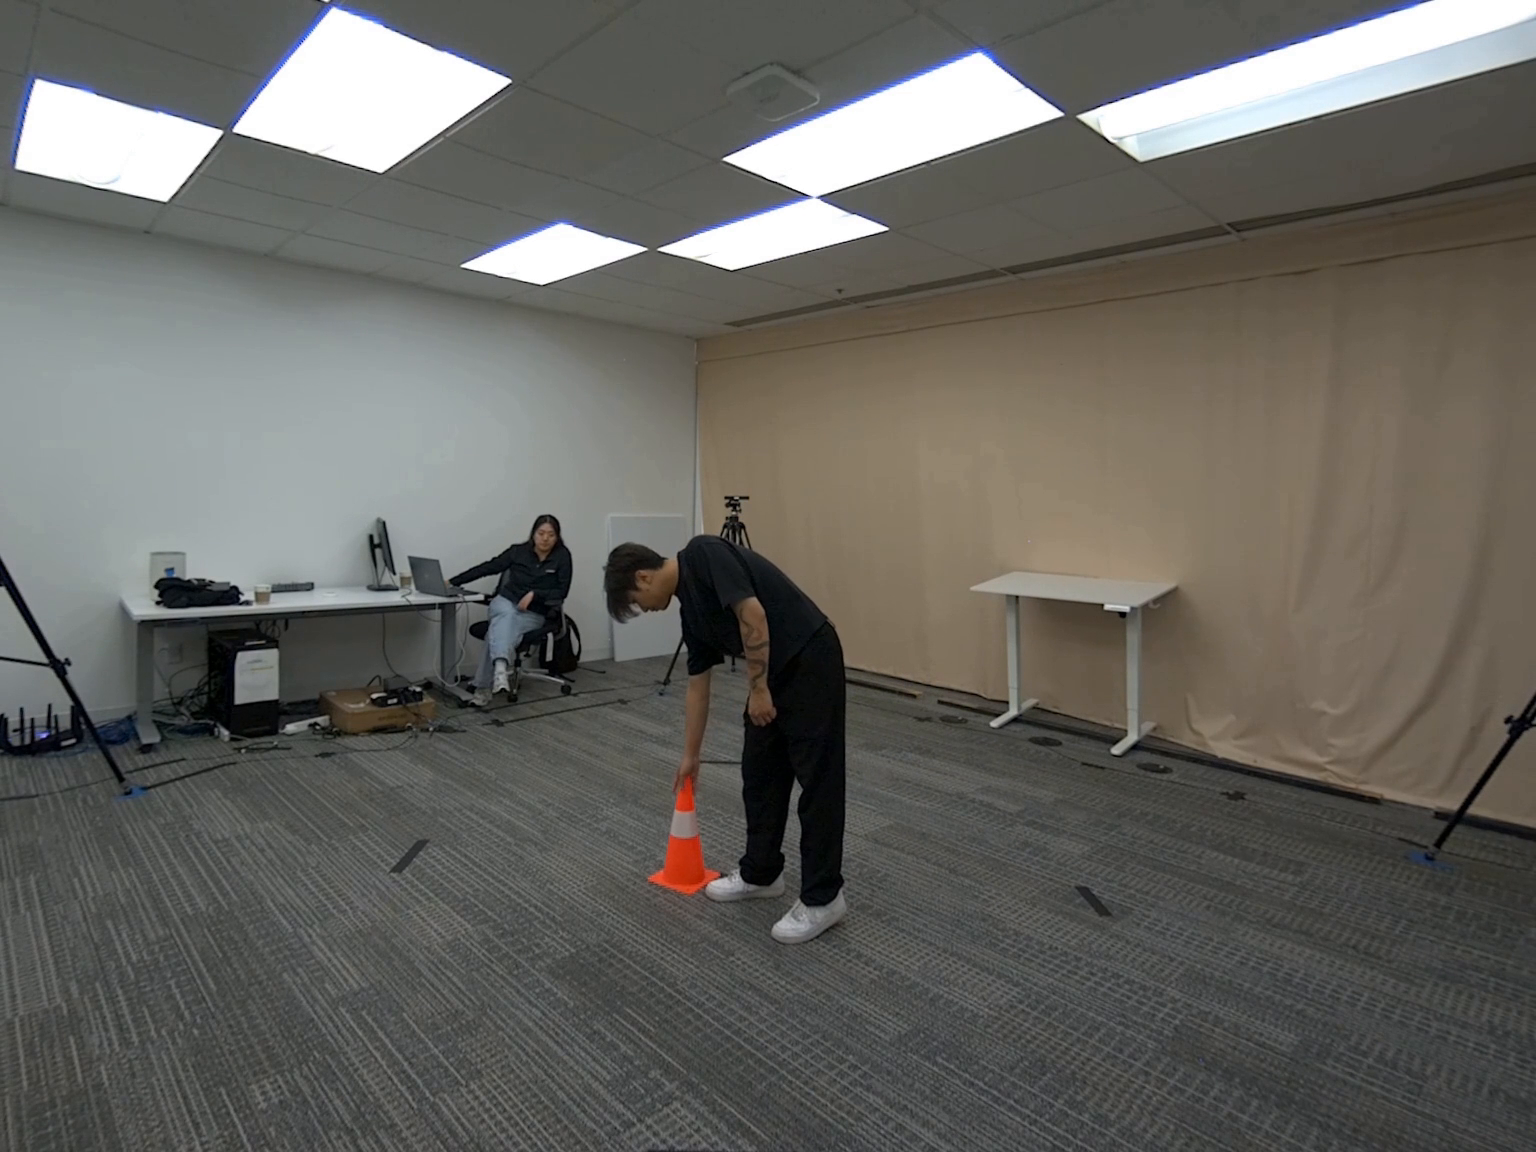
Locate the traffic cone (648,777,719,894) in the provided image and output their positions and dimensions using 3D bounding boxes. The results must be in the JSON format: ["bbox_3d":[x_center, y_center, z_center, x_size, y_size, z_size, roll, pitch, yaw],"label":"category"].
[{"bbox_3d":[-0.304,0.921,3.070,0.200,0.383,0.209,0,4,-45],"label":"traffic cone"}]
